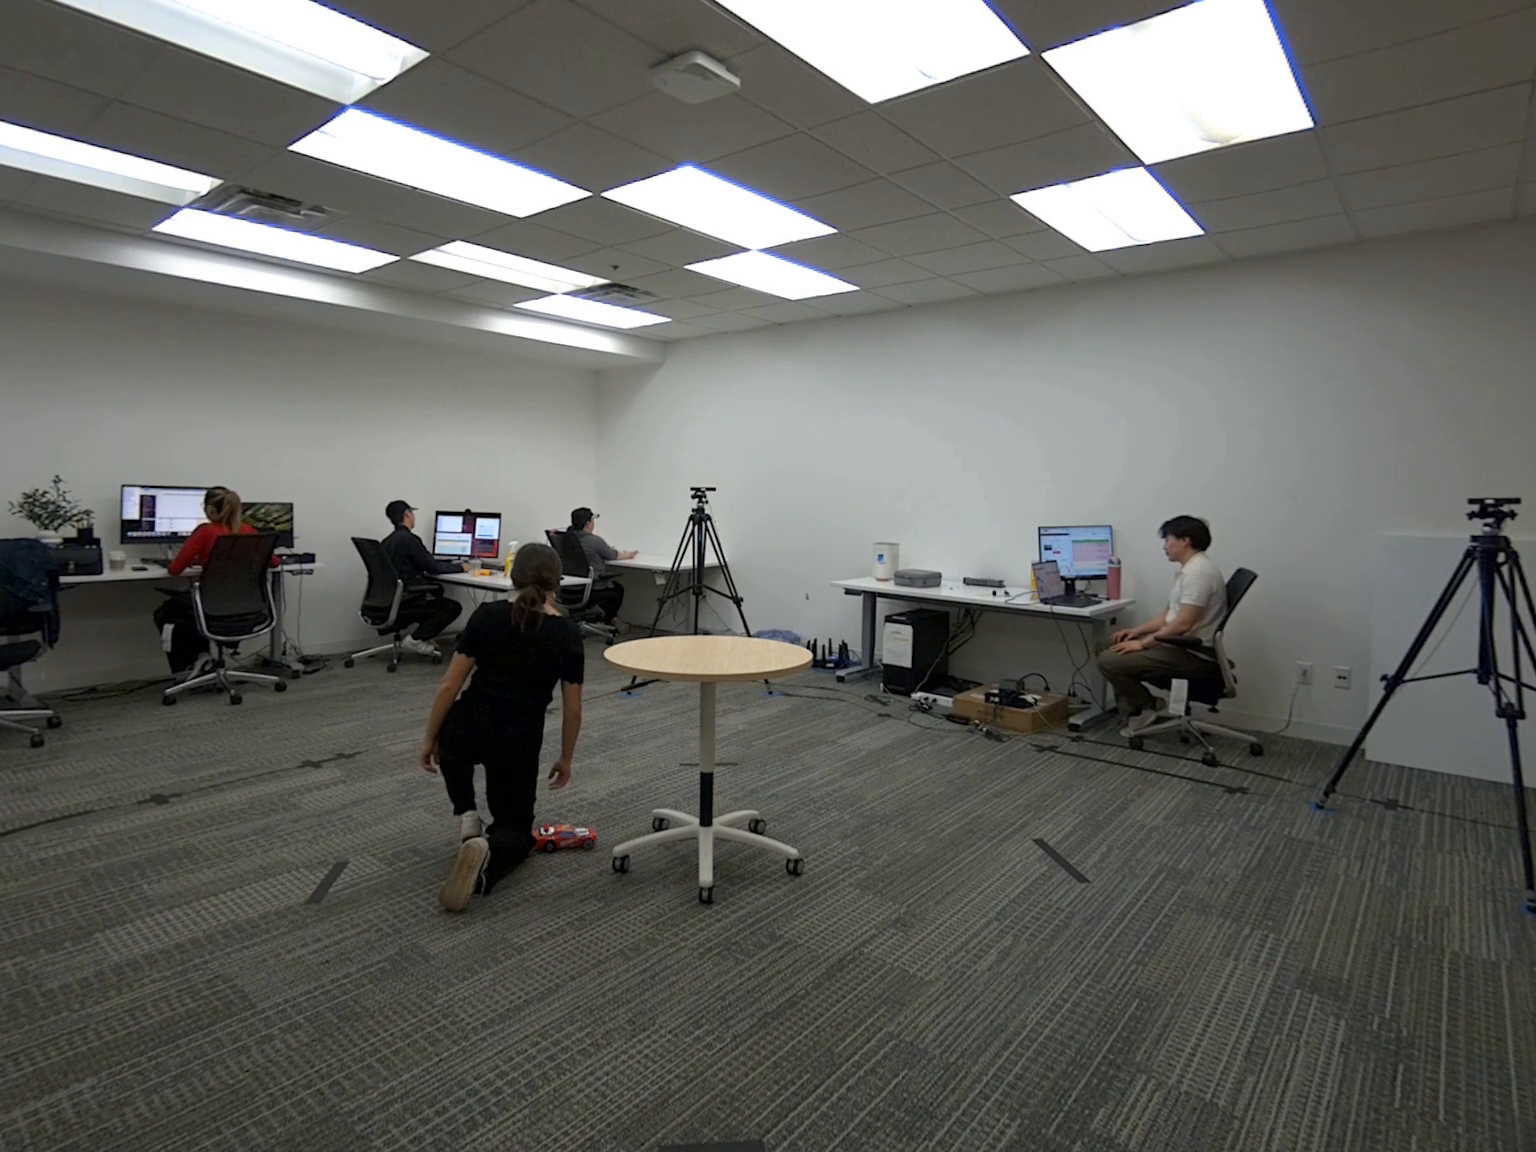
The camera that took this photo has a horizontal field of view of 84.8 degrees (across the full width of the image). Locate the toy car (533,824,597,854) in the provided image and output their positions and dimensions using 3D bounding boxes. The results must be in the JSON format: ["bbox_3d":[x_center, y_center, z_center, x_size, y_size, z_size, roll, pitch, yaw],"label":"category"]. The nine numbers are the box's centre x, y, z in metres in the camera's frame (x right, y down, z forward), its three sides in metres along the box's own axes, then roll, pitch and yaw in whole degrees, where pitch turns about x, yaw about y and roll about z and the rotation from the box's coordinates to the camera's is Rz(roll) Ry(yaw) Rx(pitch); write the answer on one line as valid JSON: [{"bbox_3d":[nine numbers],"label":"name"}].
[{"bbox_3d":[-0.809,1.013,3.279,0.250,0.083,0.132,12,2,-14],"label":"toy car"}]
